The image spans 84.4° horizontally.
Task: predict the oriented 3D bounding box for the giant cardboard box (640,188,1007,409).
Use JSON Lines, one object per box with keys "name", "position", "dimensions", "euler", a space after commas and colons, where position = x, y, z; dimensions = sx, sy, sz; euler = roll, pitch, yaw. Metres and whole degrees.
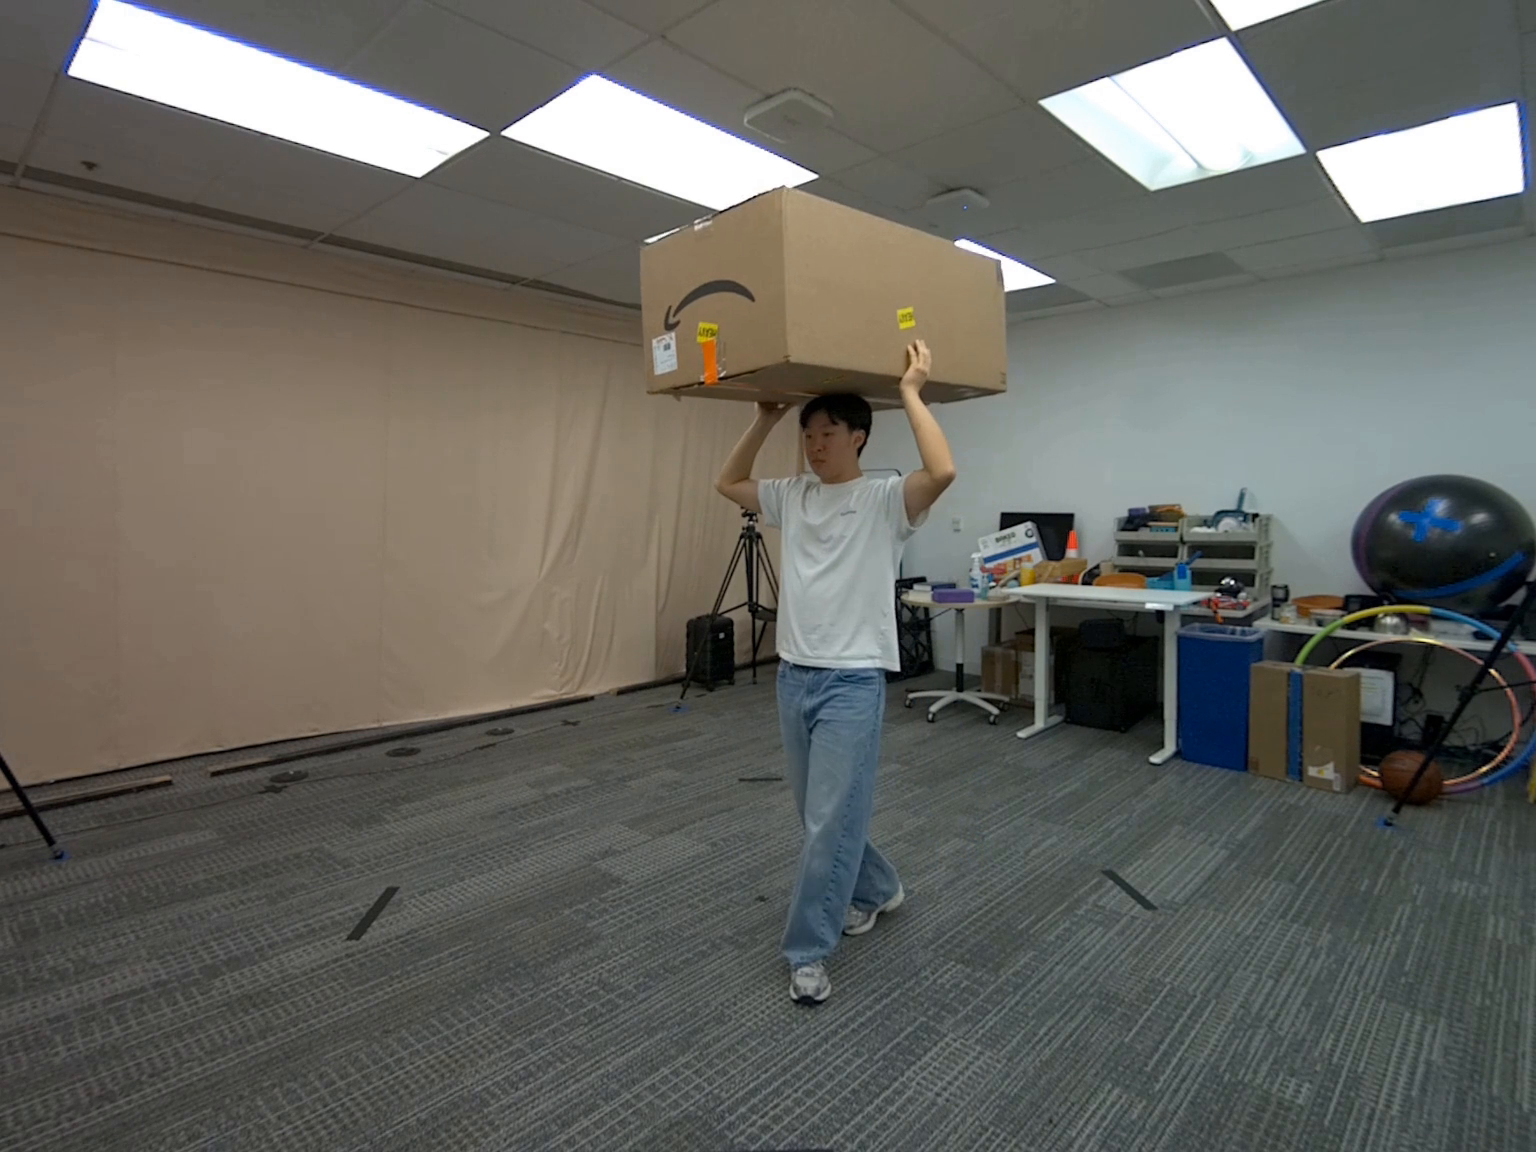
{"name": "giant cardboard box", "position": [0.204, -0.765, 2.555], "dimensions": [0.995, 0.425, 0.596], "euler": [-5, 5, -44]}
